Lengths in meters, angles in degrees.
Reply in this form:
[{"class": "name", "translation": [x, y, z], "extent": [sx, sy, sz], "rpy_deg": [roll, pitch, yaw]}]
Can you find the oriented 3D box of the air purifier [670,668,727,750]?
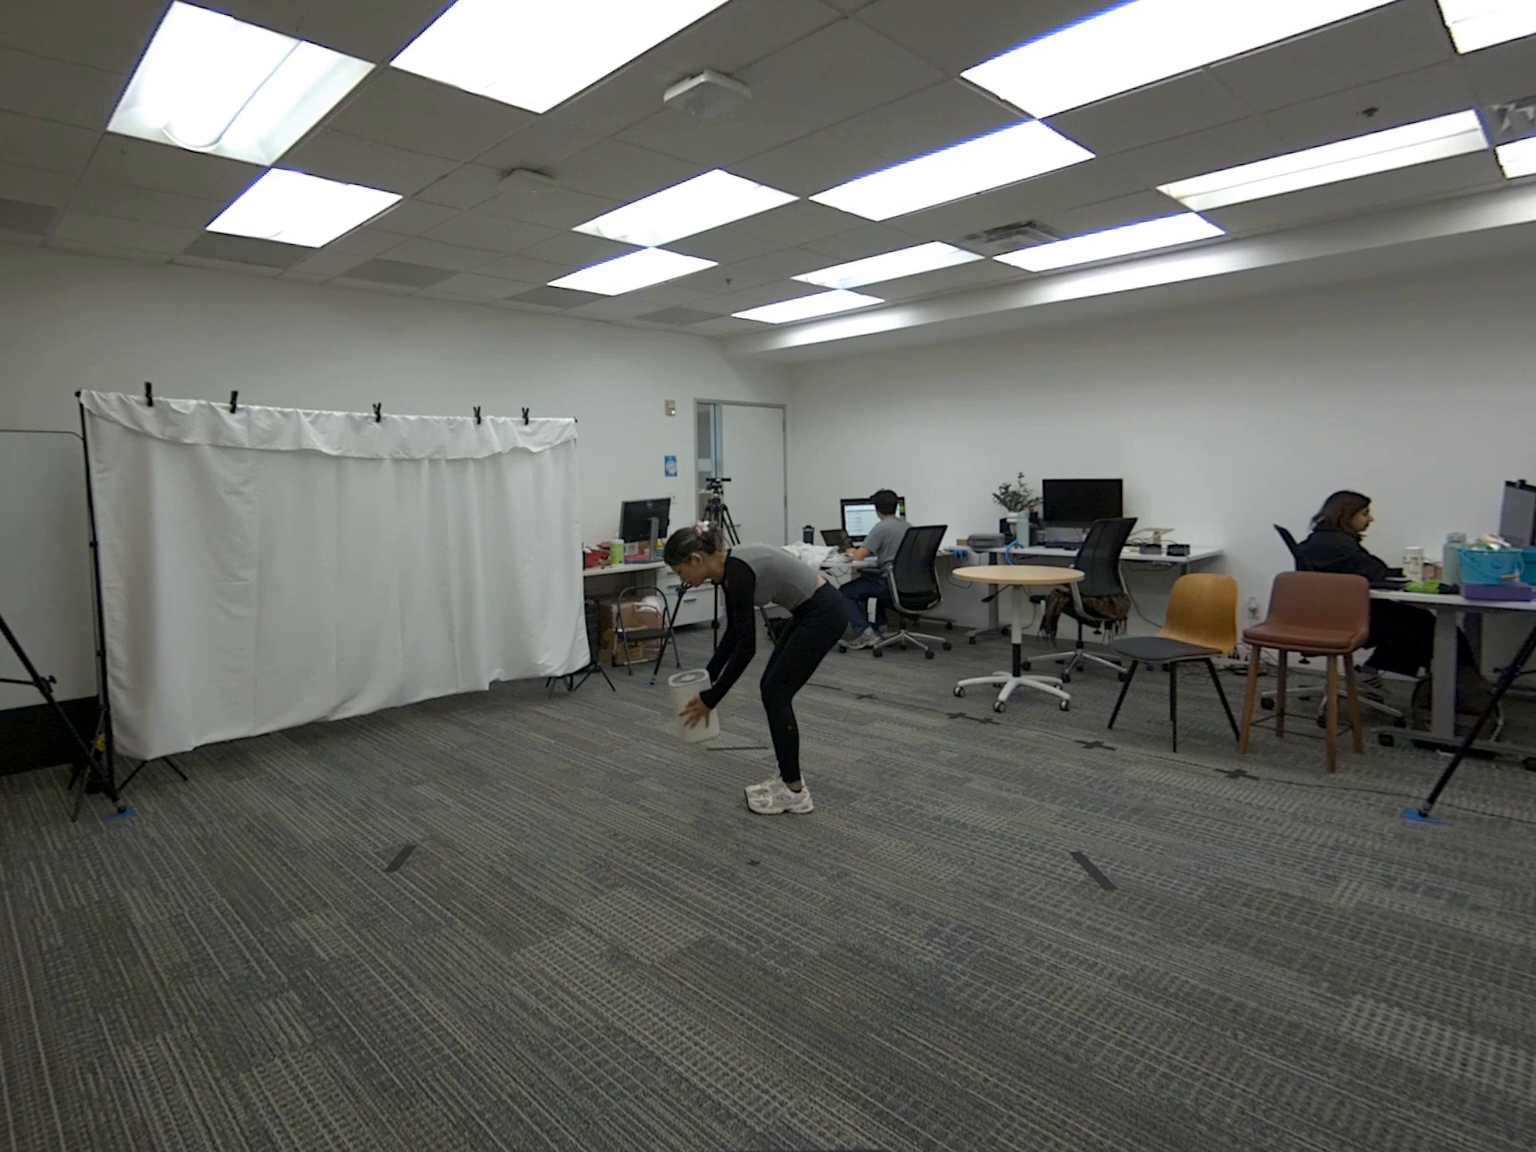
[{"class": "air purifier", "translation": [-0.296, 0.548, 3.572], "extent": [0.170, 0.263, 0.174], "rpy_deg": [-12, 9, -7]}]
